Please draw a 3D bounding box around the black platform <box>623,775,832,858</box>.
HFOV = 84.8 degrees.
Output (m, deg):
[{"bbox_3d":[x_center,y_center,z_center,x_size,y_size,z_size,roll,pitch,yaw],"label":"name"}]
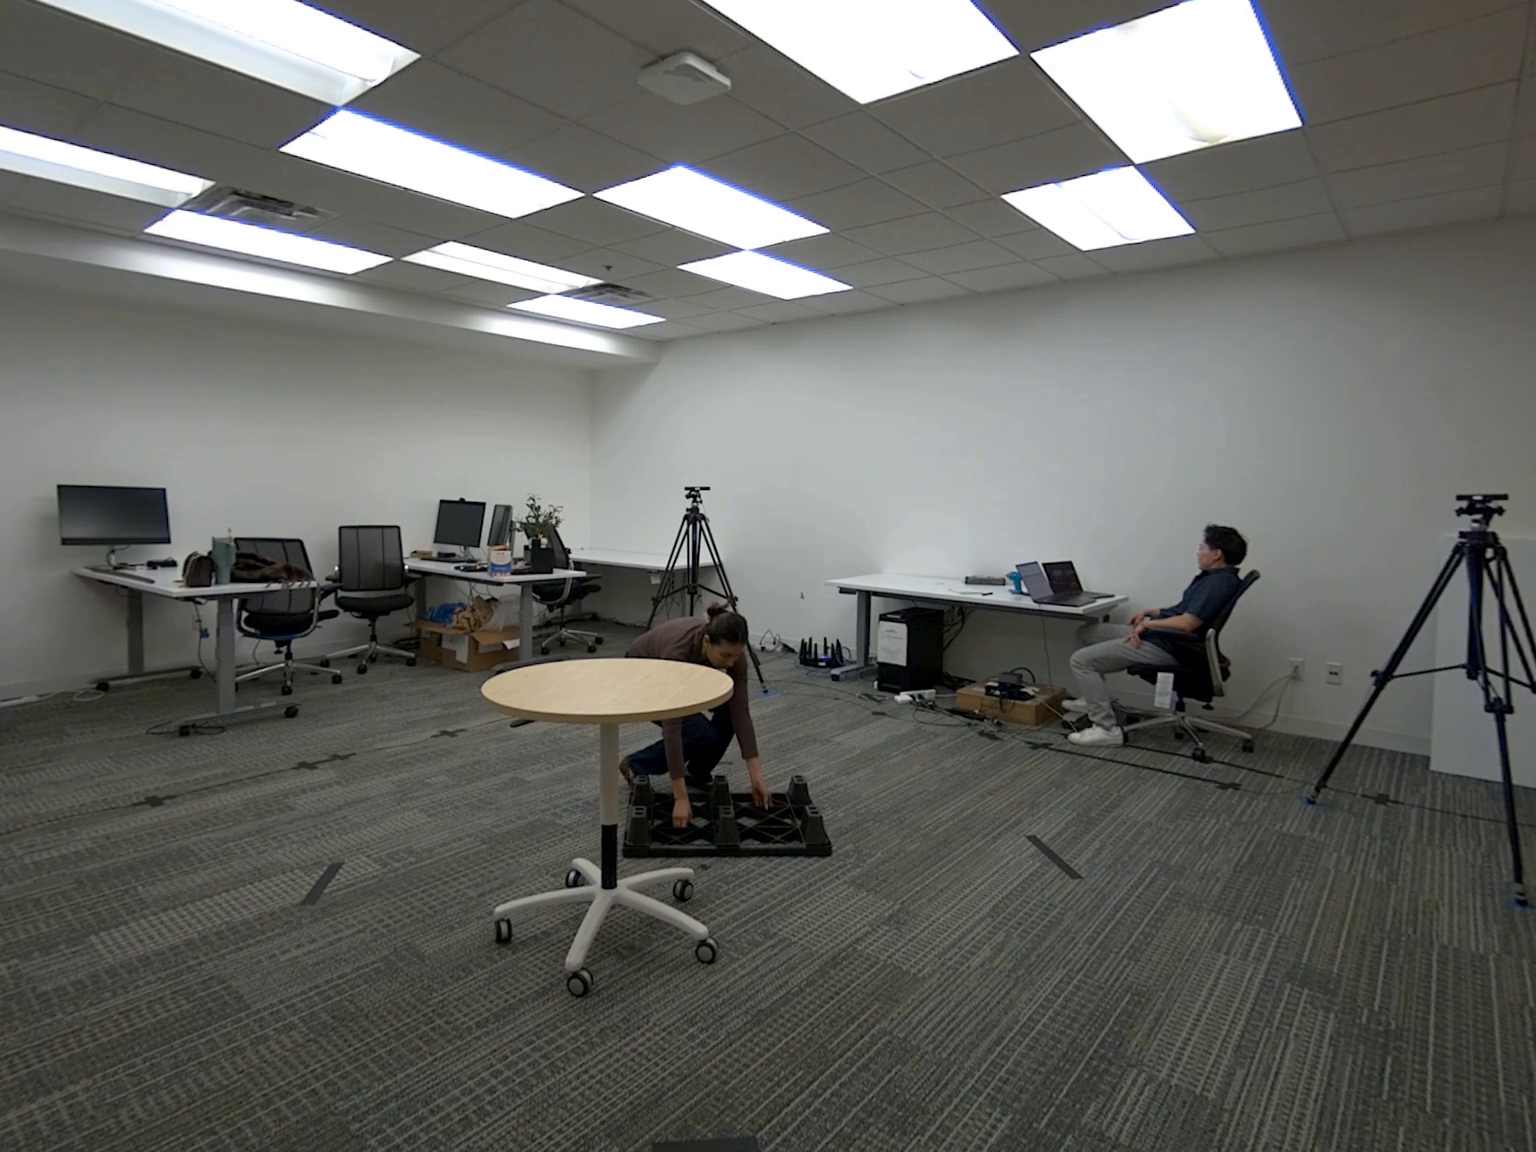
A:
[{"bbox_3d":[-0.186,0.959,3.499,0.802,0.143,0.611,0,6,-5],"label":"black platform"}]
